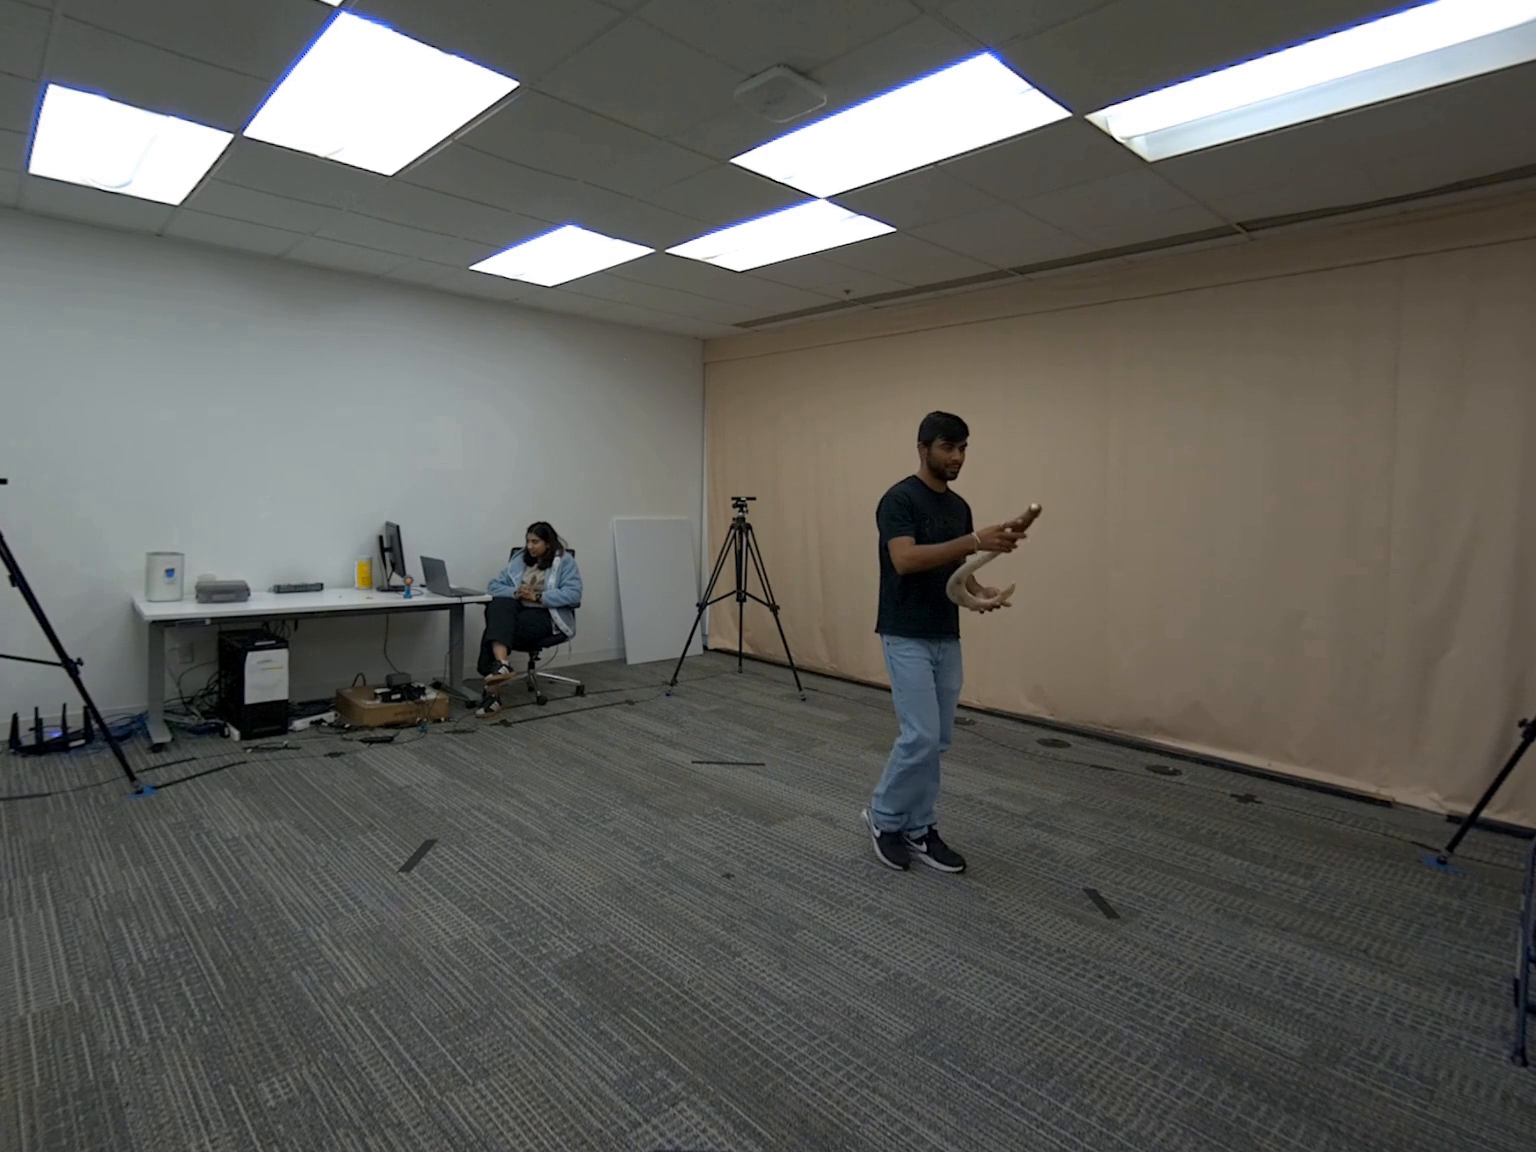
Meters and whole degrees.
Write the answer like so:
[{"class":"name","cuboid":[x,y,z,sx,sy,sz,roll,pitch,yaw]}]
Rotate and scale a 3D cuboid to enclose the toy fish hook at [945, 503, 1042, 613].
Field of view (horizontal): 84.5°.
[{"class":"toy fish hook","cuboid":[0.813,-0.053,2.946,0.222,0.504,0.049,26,40,-12]}]
